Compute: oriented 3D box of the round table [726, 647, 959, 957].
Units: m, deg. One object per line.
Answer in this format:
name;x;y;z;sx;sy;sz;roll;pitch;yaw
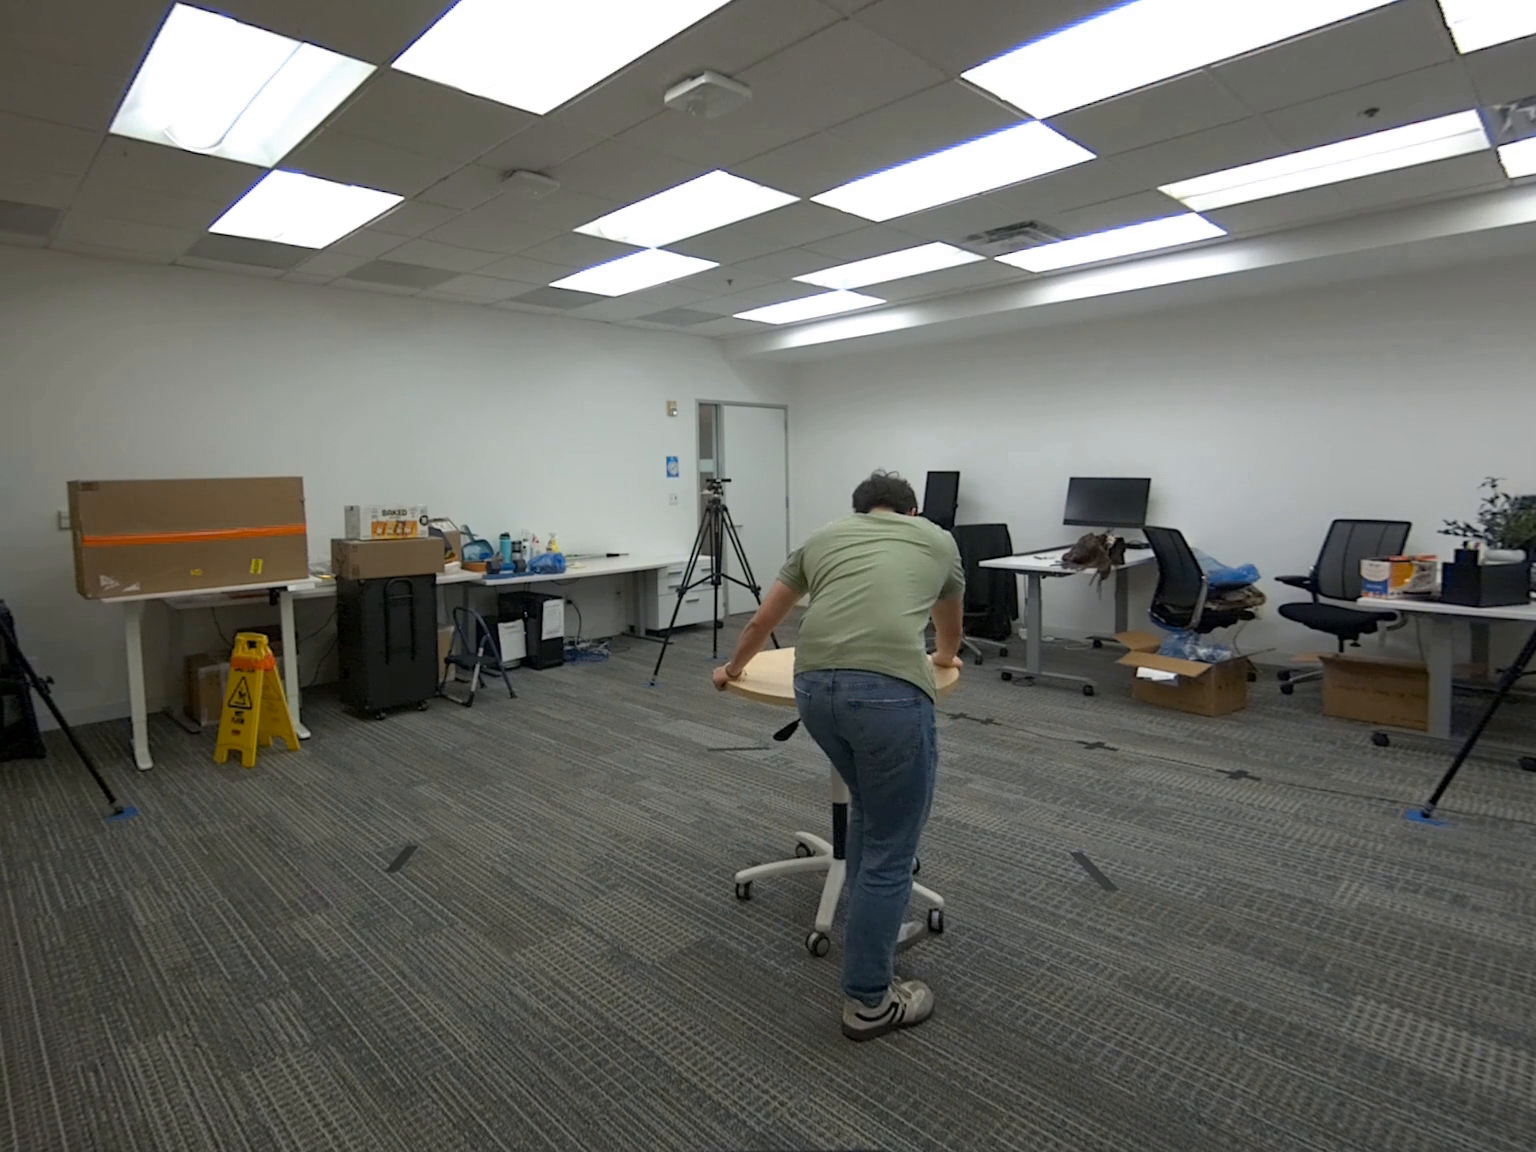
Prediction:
round table;0.247;0.692;2.814;0.763;0.790;0.768;-1;5;-2
